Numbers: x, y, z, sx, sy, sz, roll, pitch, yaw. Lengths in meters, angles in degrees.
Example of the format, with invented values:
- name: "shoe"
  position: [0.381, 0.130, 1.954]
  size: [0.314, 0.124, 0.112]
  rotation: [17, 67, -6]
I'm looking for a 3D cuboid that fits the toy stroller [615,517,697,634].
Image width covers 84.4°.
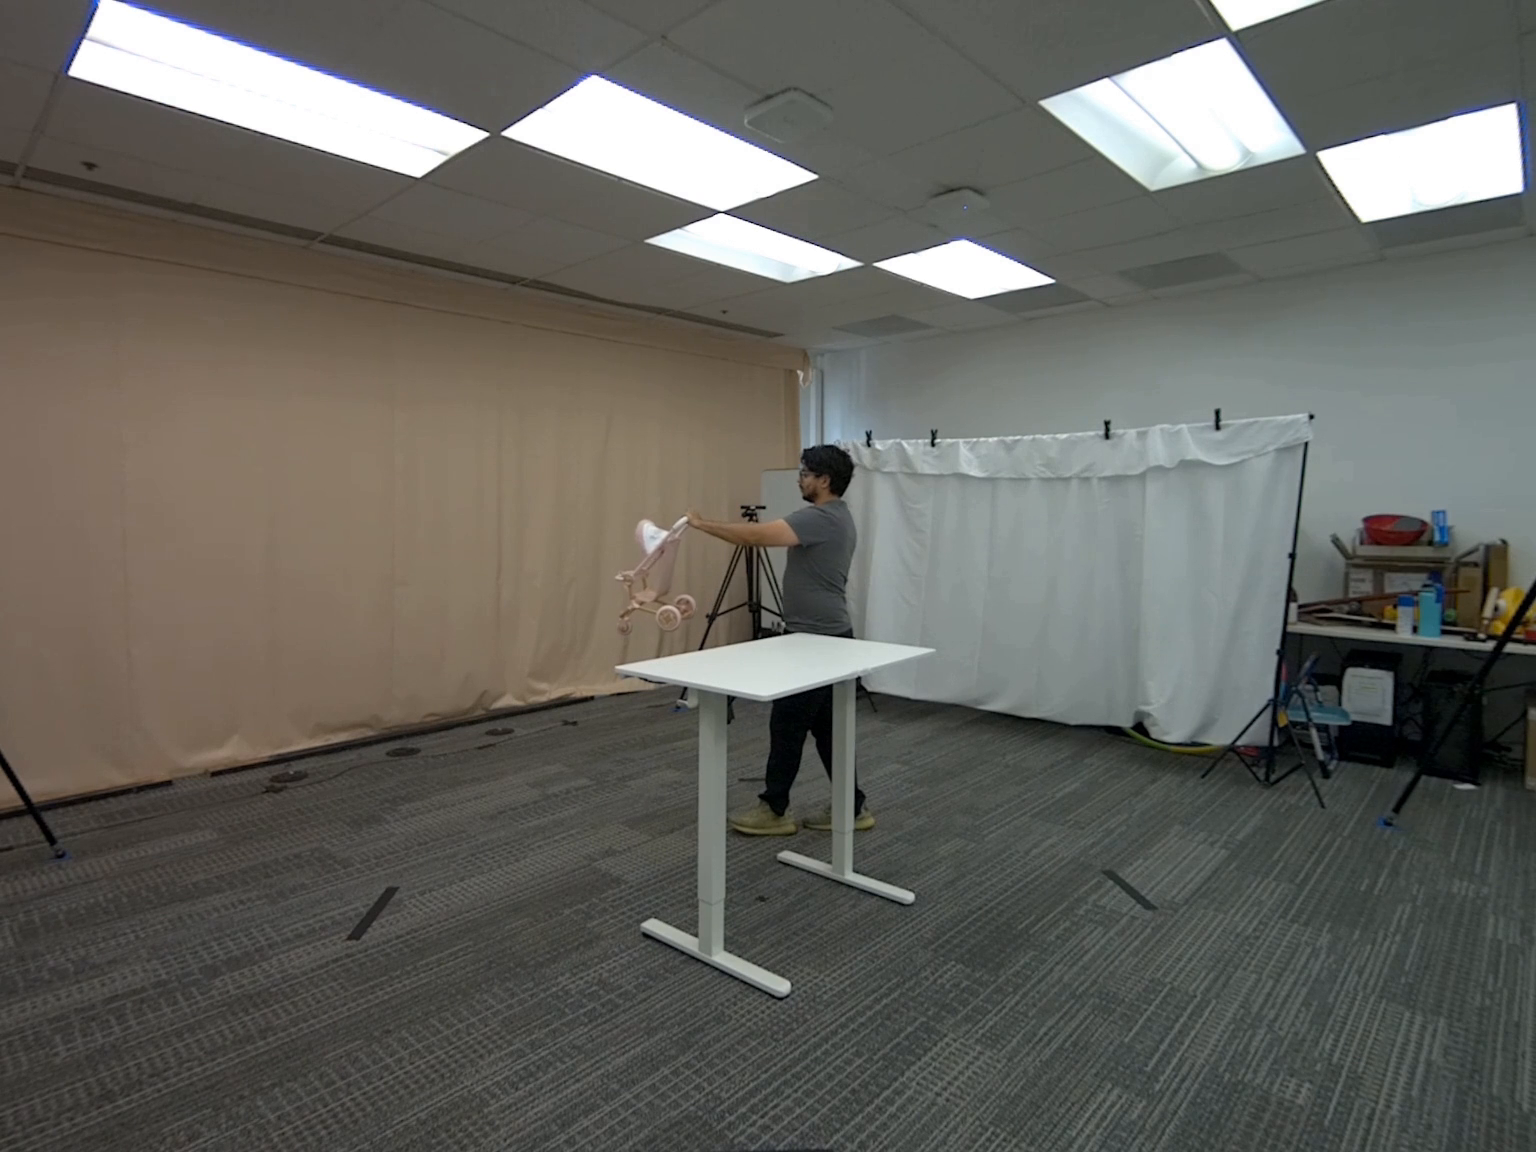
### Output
- name: "toy stroller"
  position: [-0.492, 0.005, 3.612]
  size: [0.348, 0.532, 0.278]
  rotation: [4, 9, 16]
